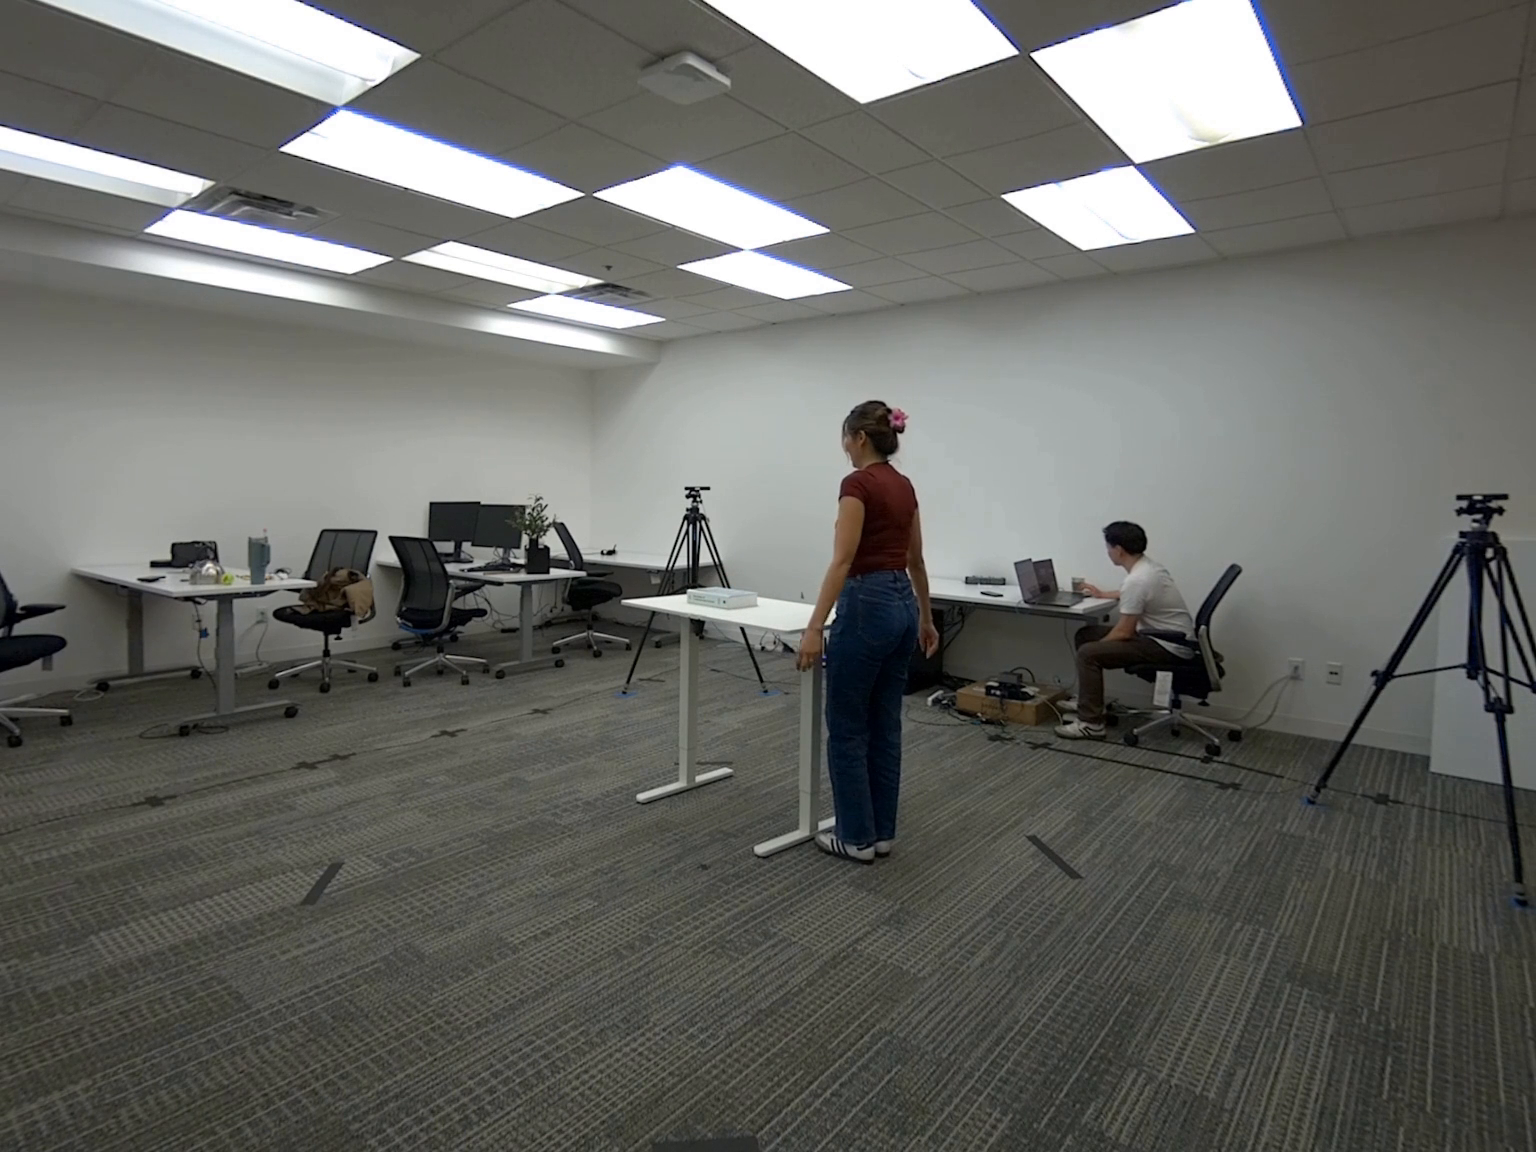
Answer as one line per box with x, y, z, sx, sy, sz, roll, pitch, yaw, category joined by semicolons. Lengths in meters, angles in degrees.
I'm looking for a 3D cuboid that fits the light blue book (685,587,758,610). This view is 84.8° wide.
-0.209;0.094;3.741;0.270;0.059;0.186;6;8;43;light blue book
